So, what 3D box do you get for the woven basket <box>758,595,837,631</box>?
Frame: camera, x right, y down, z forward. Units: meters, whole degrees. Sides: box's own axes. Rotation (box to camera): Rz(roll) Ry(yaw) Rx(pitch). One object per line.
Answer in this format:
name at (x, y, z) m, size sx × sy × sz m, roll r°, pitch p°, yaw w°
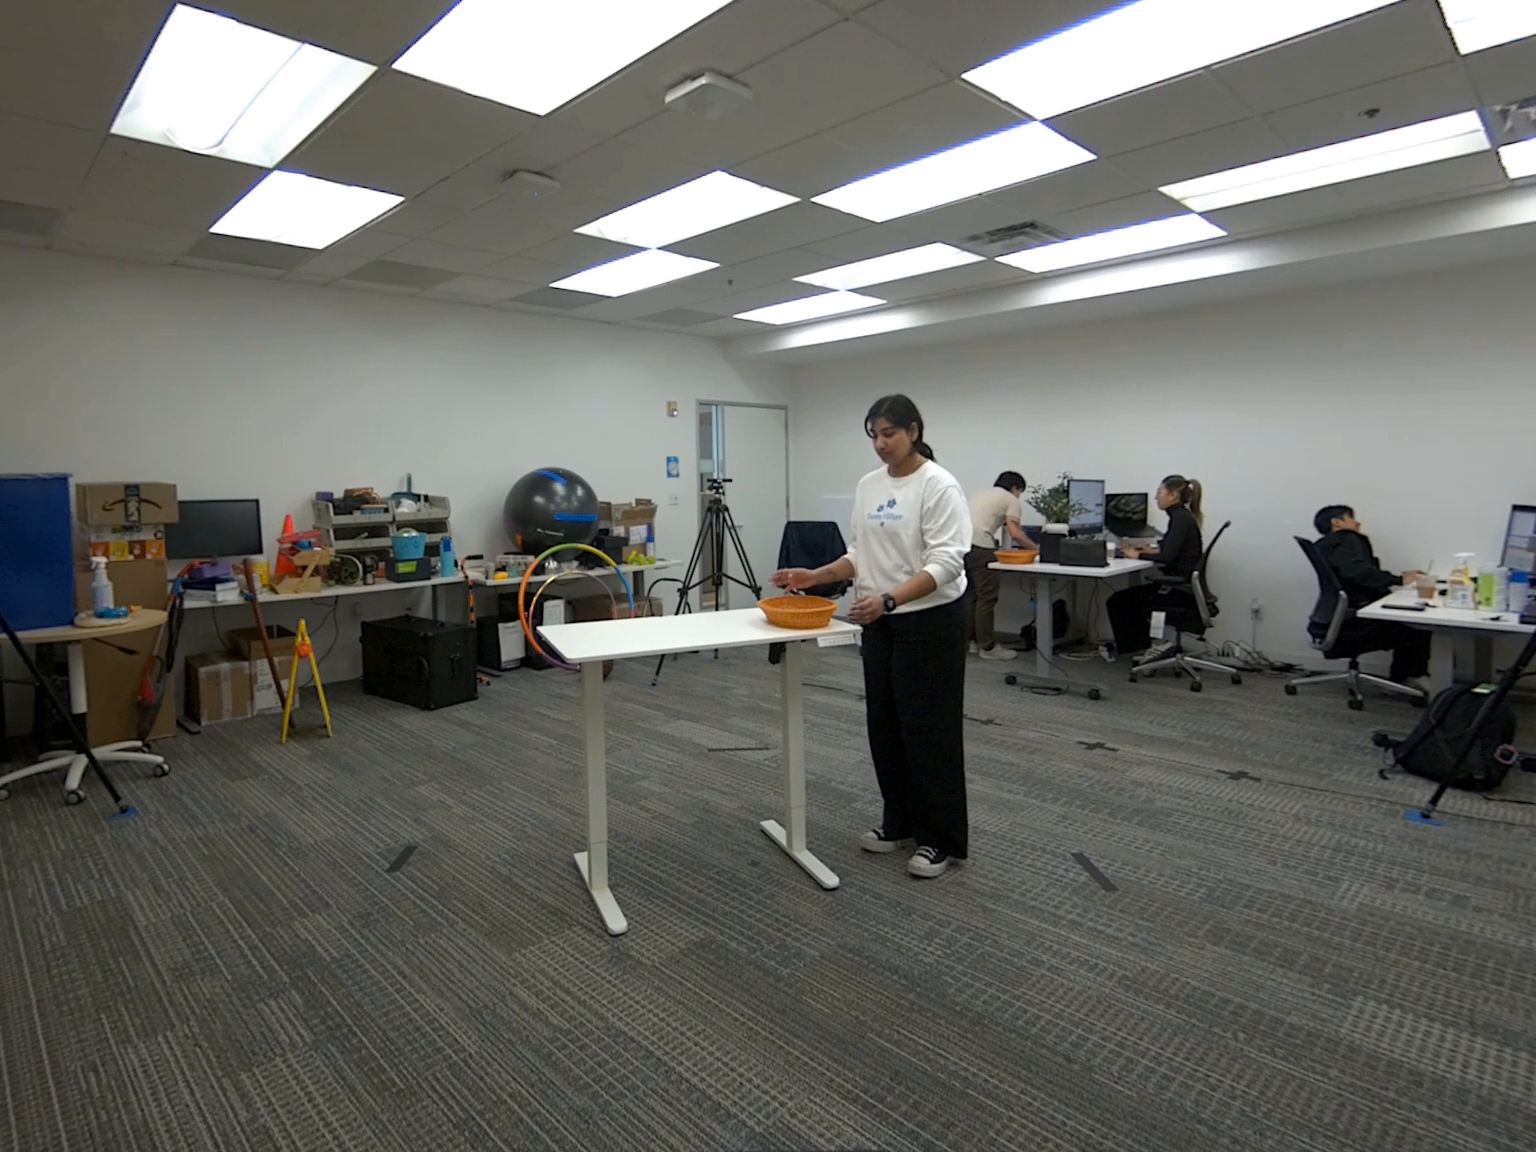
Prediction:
woven basket at (0.118, 0.131, 3.041) m, size 0.249 × 0.073 × 0.357 m, roll -4°, pitch 7°, yaw -16°
